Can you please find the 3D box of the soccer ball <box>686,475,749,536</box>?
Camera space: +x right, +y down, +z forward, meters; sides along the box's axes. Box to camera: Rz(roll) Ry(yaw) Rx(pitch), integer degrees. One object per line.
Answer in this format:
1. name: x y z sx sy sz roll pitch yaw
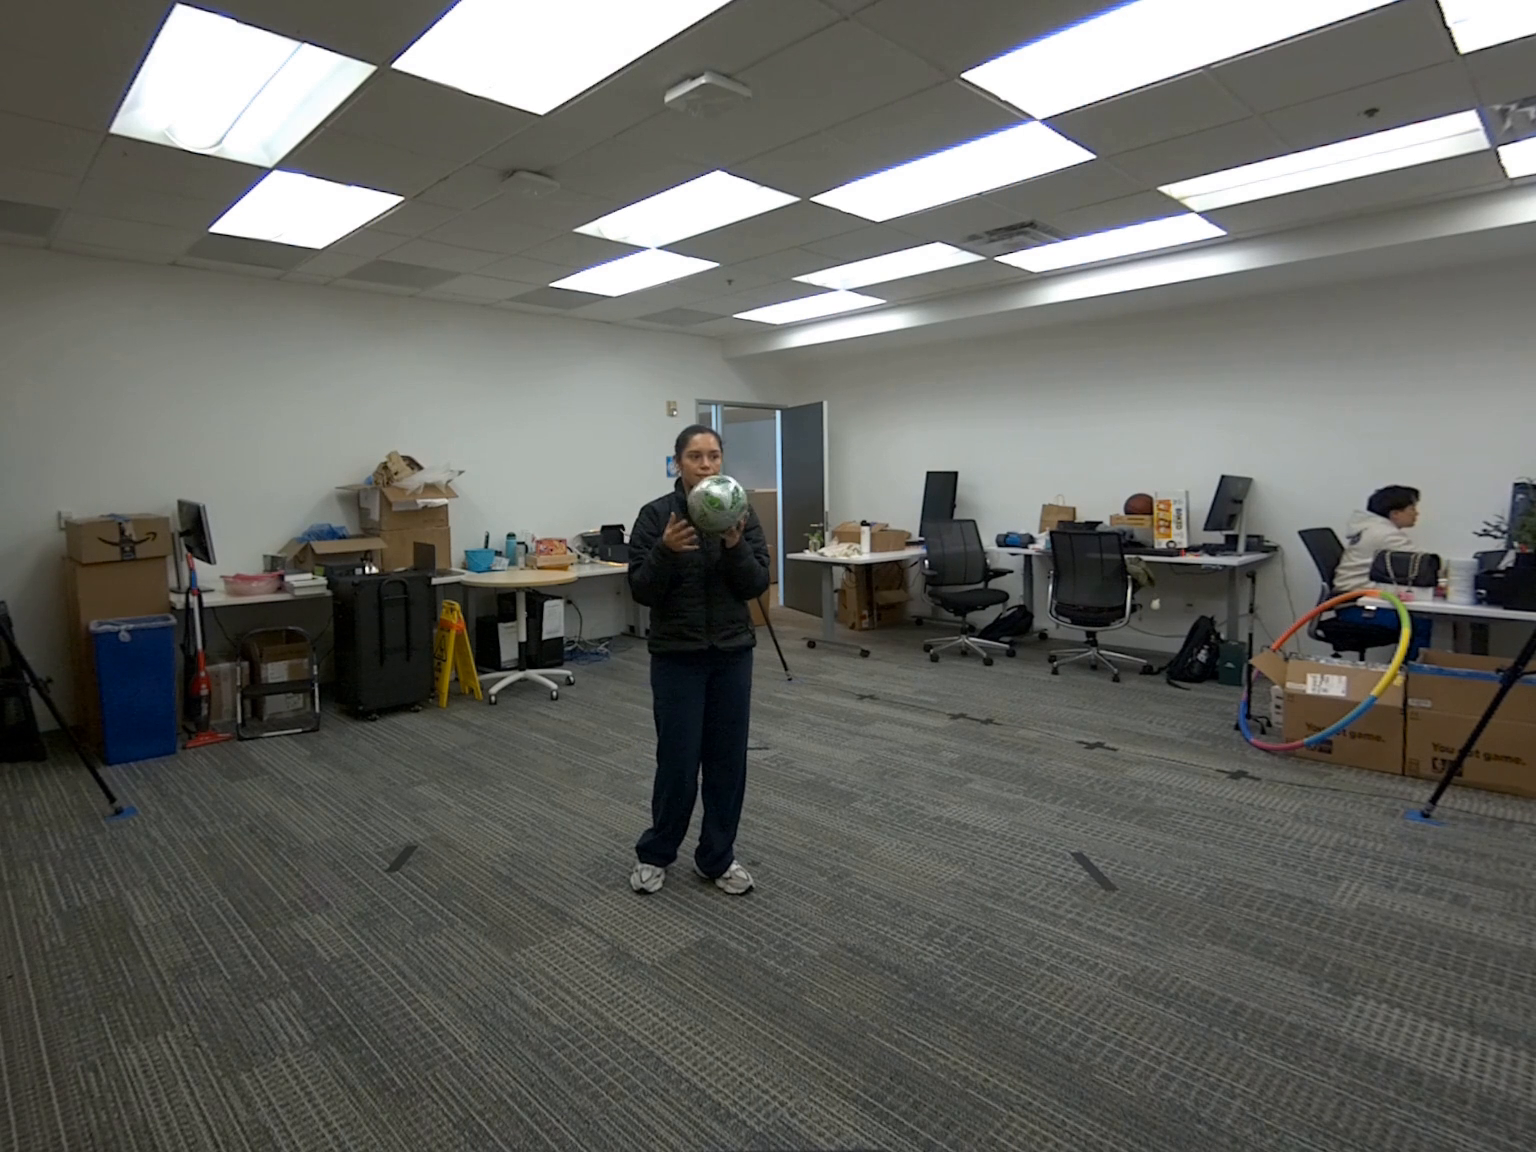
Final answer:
1. soccer ball: -0.175 -0.213 2.670 0.187 0.187 0.188 -1 5 -2
